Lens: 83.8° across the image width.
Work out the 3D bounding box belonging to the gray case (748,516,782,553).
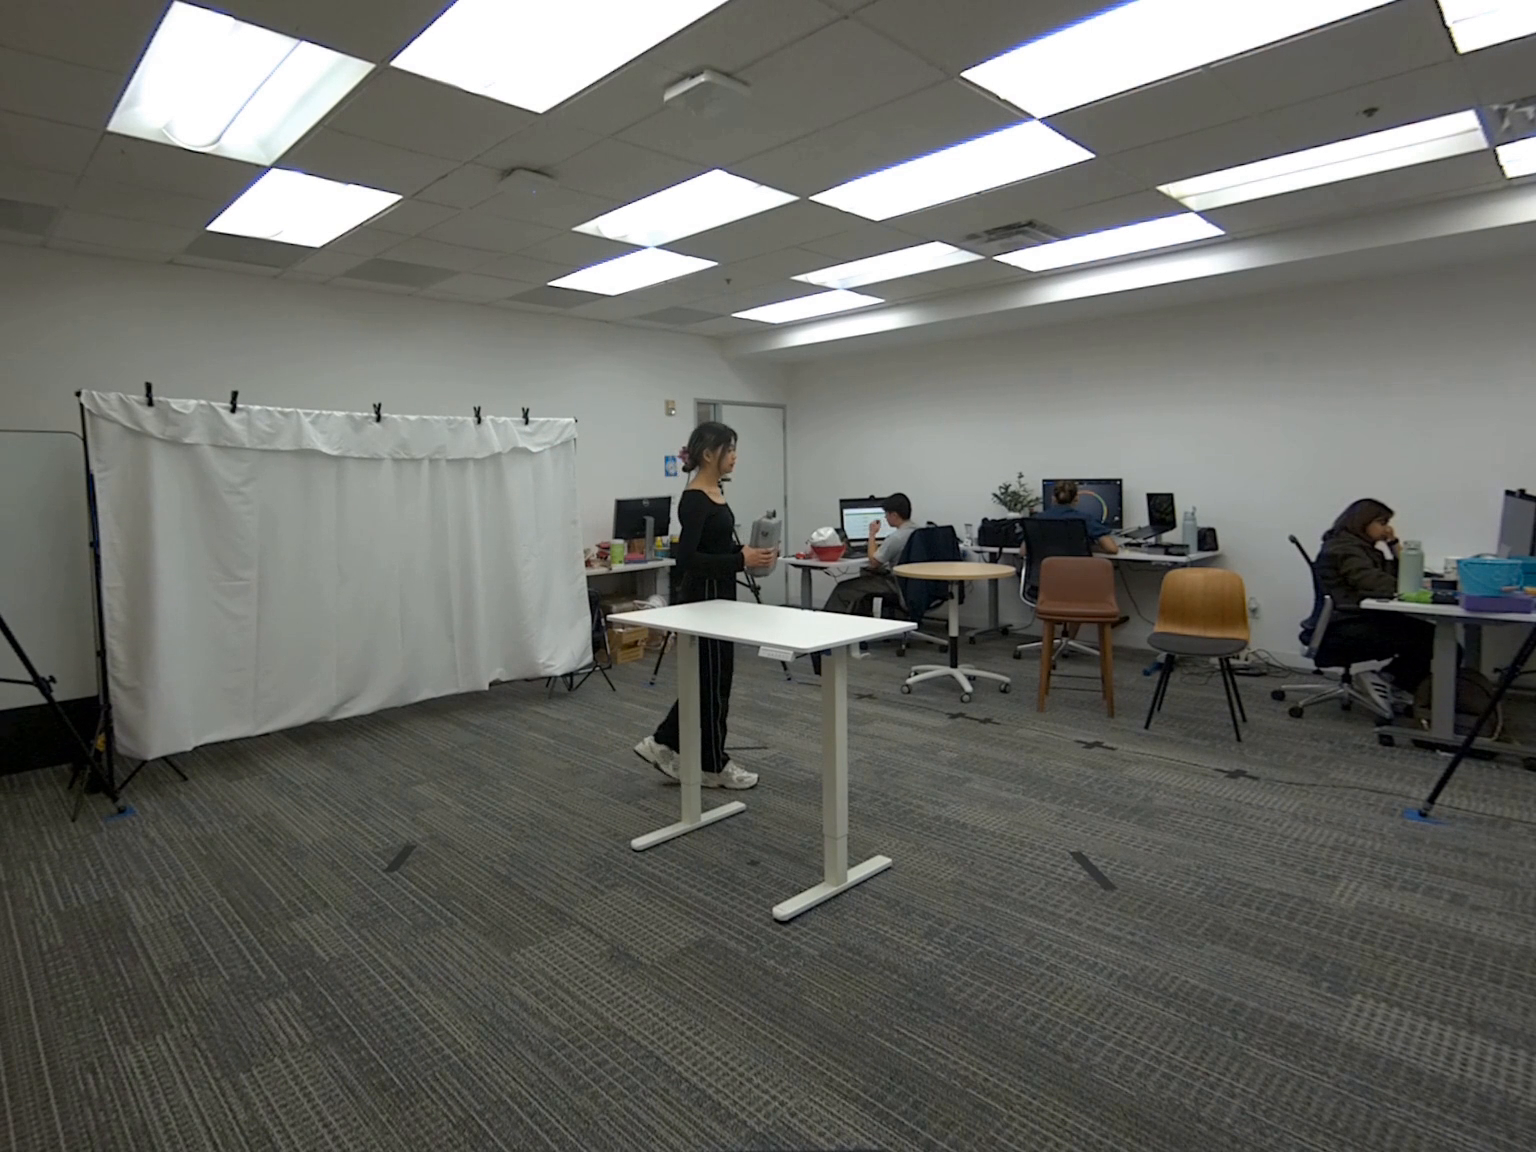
[{"bbox_3d":[-0.020,-0.144,3.796,0.105,0.259,0.256,10,11,8],"label":"gray case"}]
